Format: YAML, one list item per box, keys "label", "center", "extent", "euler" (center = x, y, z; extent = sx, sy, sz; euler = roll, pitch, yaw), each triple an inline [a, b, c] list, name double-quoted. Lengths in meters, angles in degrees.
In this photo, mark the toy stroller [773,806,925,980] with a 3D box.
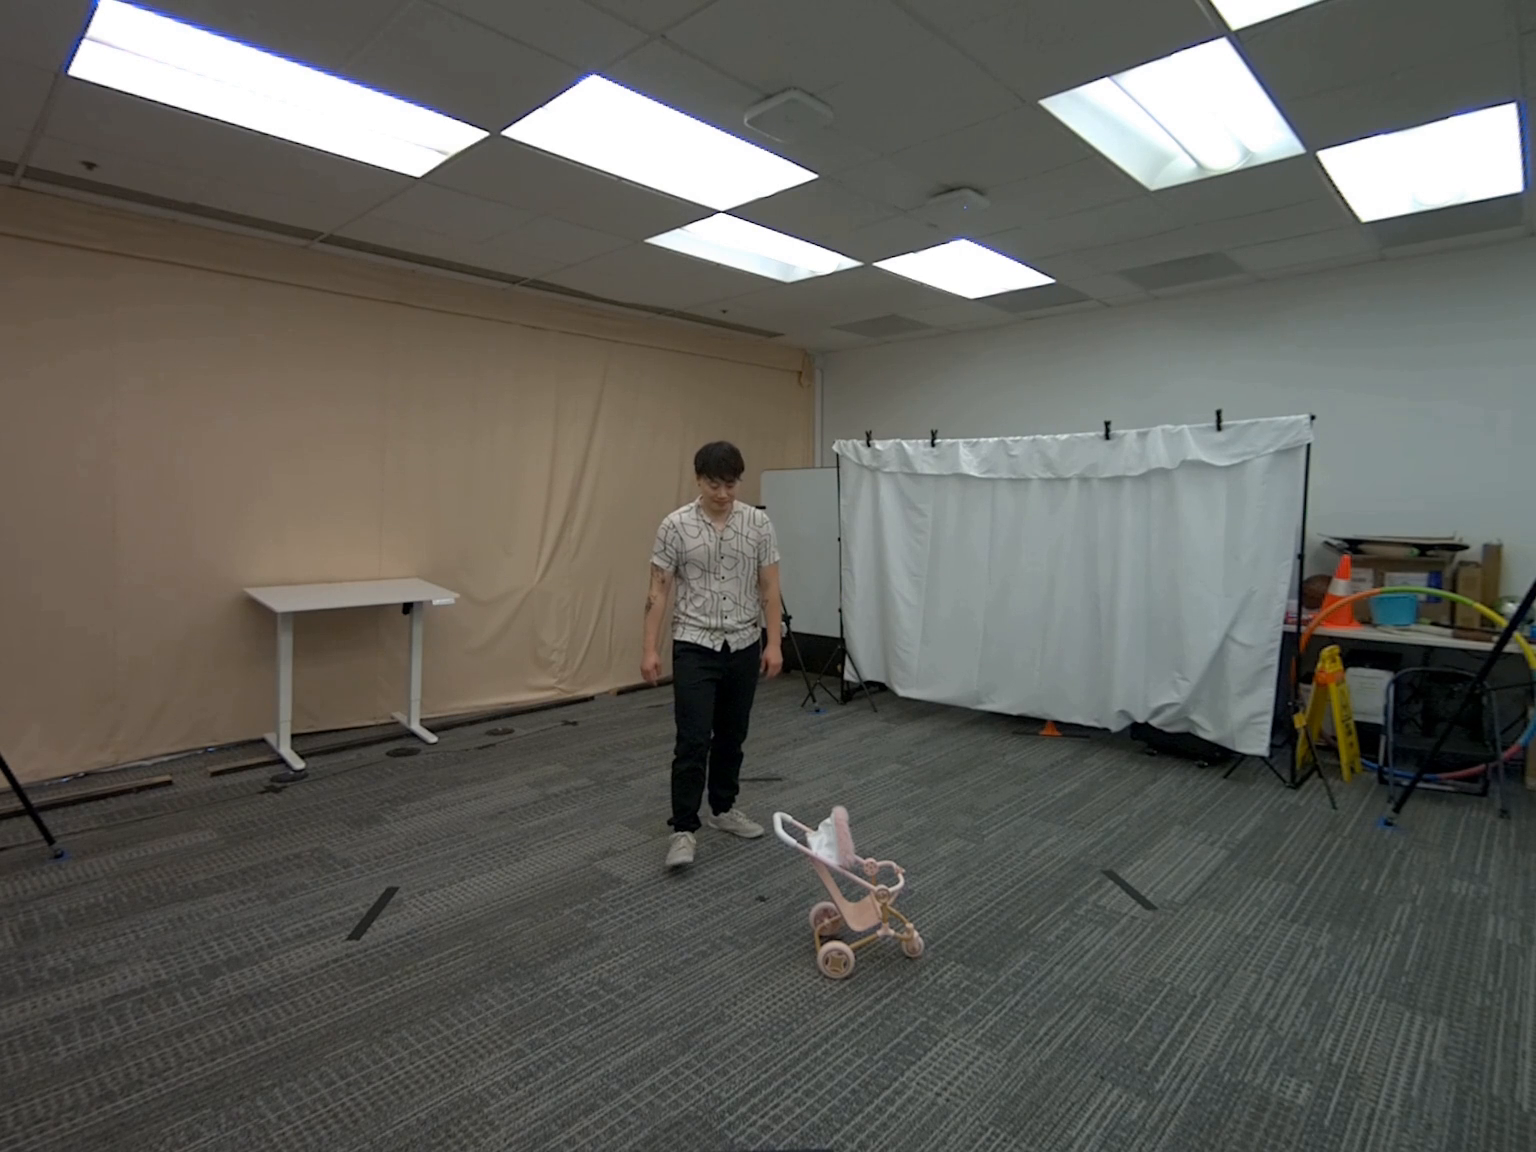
- label: "toy stroller"
  center: [0.259, 0.954, 2.588]
  extent: [0.343, 0.534, 0.281]
  euler: [-17, 2, 5]
